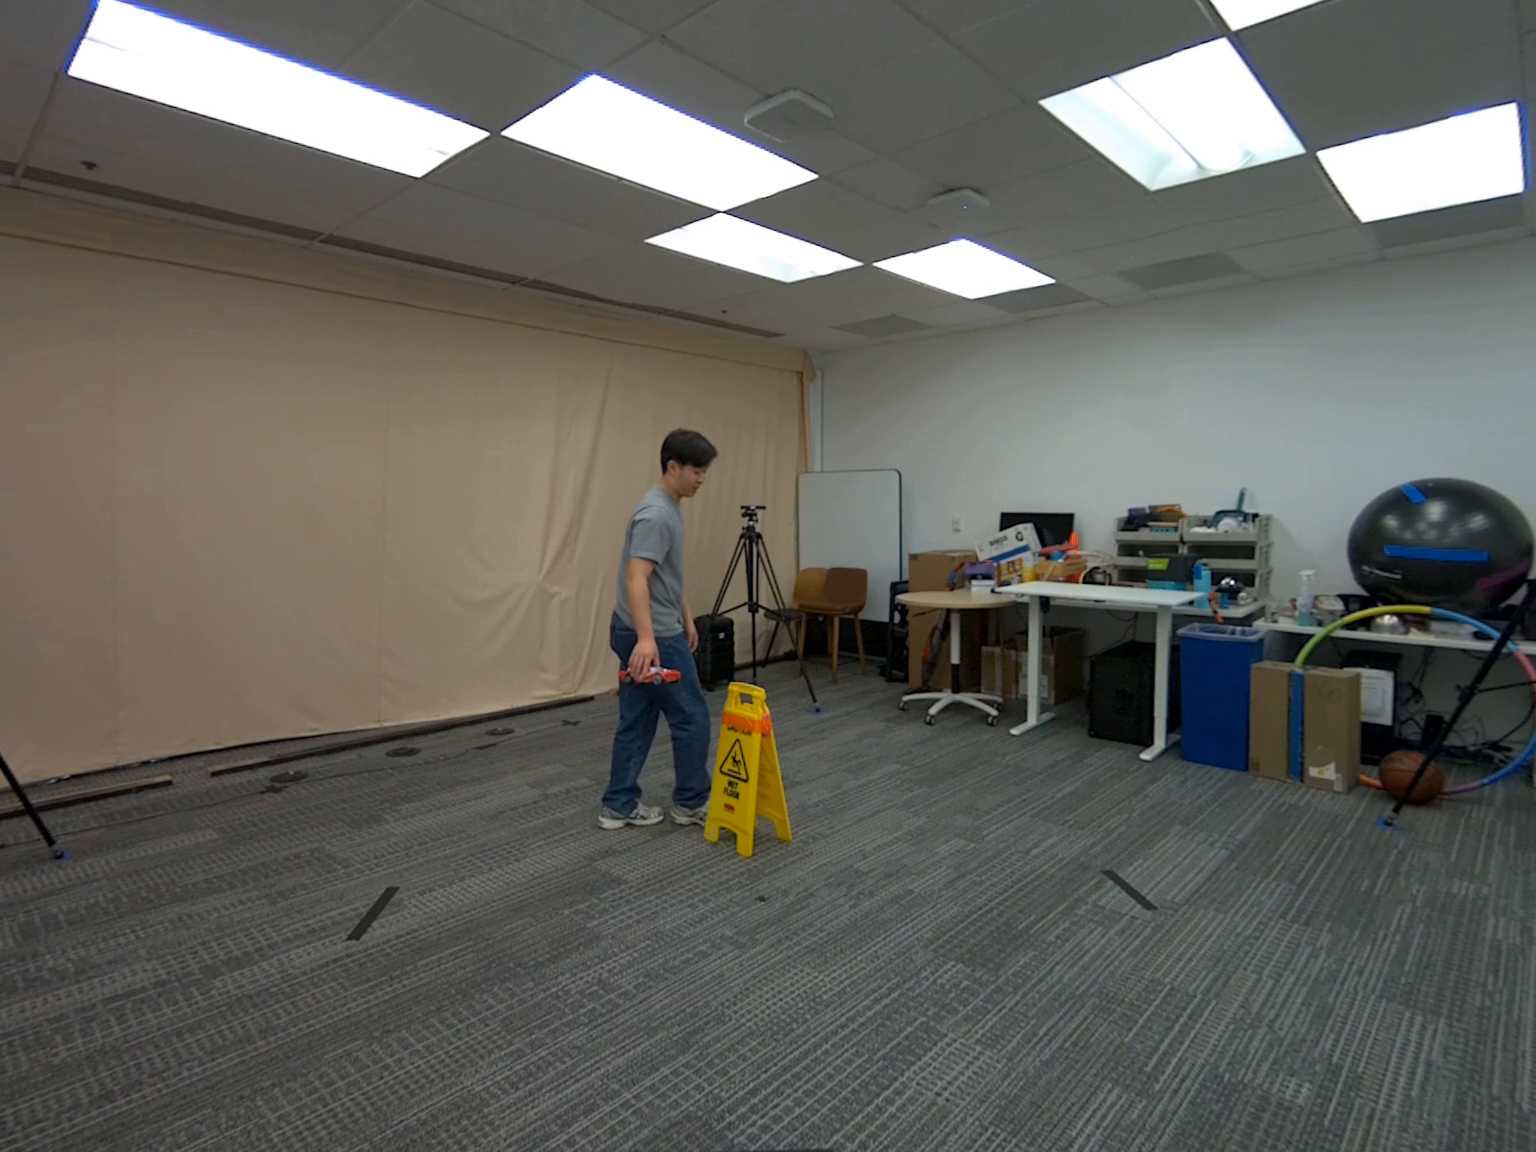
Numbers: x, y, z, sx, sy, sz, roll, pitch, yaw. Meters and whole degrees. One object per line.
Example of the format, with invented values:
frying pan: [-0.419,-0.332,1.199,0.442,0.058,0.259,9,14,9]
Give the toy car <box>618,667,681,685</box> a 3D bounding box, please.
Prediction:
toy car: [-0.468,0.390,3.240,0.263,0.083,0.126,6,1,36]
